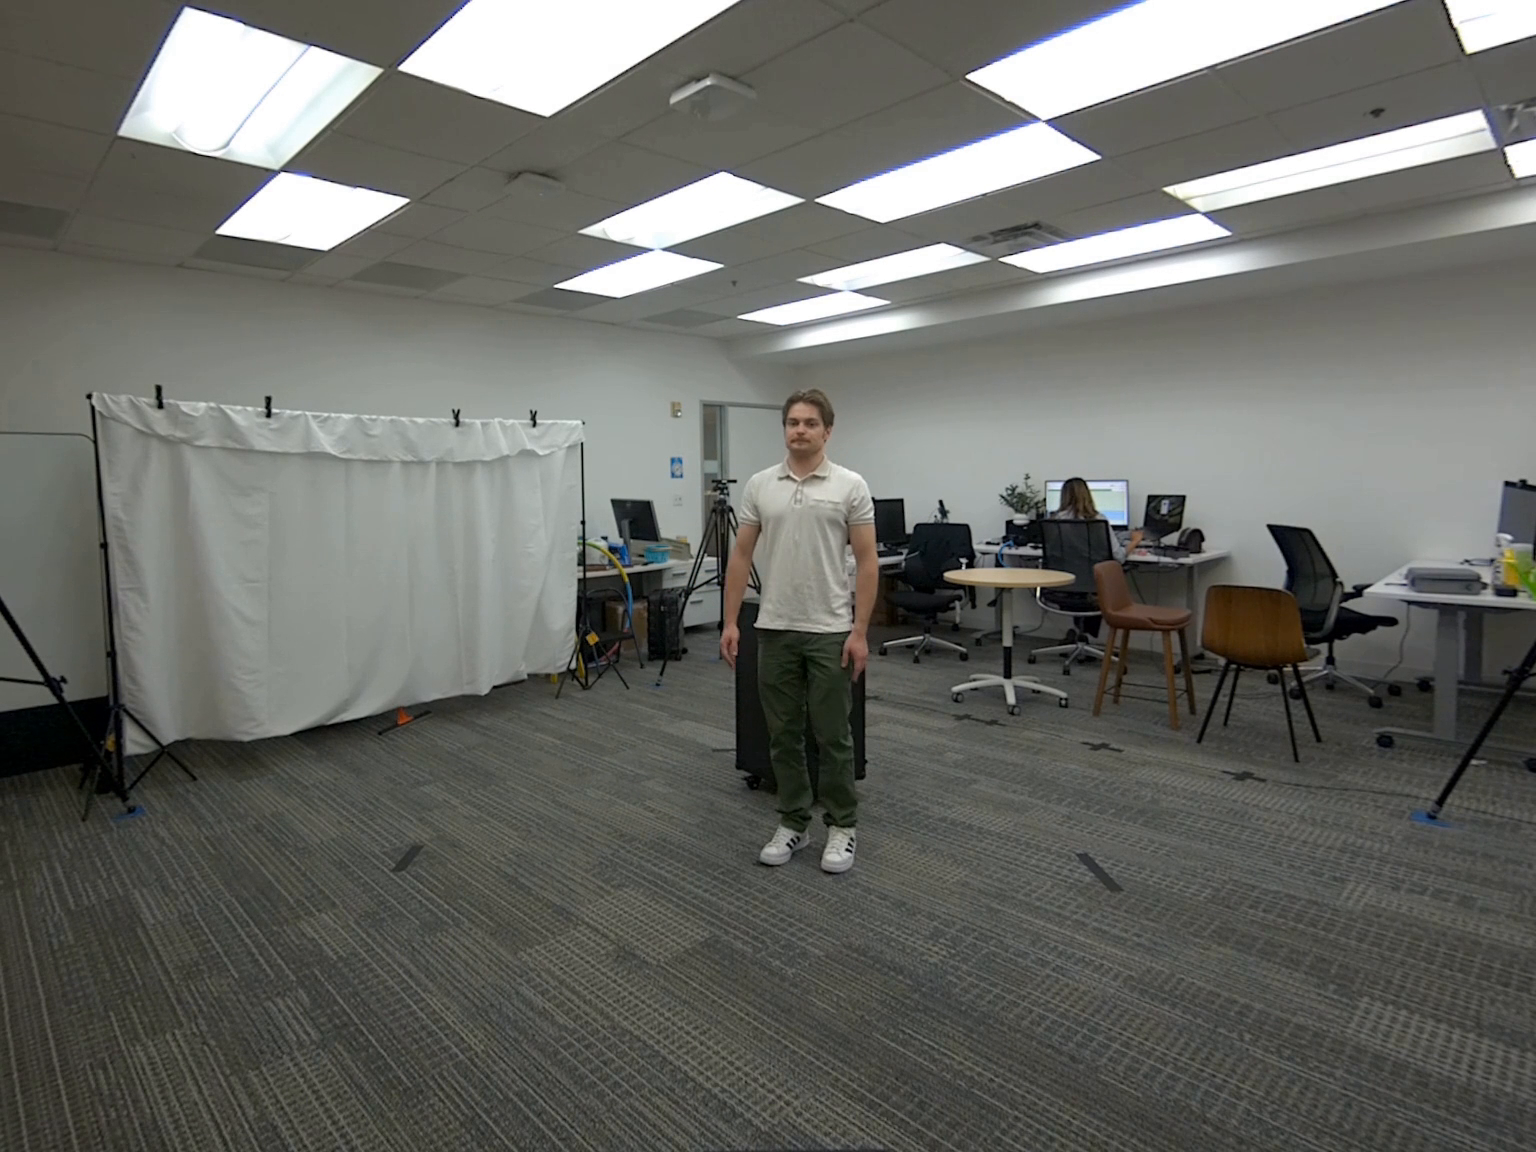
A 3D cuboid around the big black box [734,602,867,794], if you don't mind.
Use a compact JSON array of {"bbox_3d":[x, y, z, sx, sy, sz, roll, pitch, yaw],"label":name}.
[{"bbox_3d":[0.138,0.541,3.850,0.375,0.865,0.539,-3,5,-41],"label":"big black box"}]
